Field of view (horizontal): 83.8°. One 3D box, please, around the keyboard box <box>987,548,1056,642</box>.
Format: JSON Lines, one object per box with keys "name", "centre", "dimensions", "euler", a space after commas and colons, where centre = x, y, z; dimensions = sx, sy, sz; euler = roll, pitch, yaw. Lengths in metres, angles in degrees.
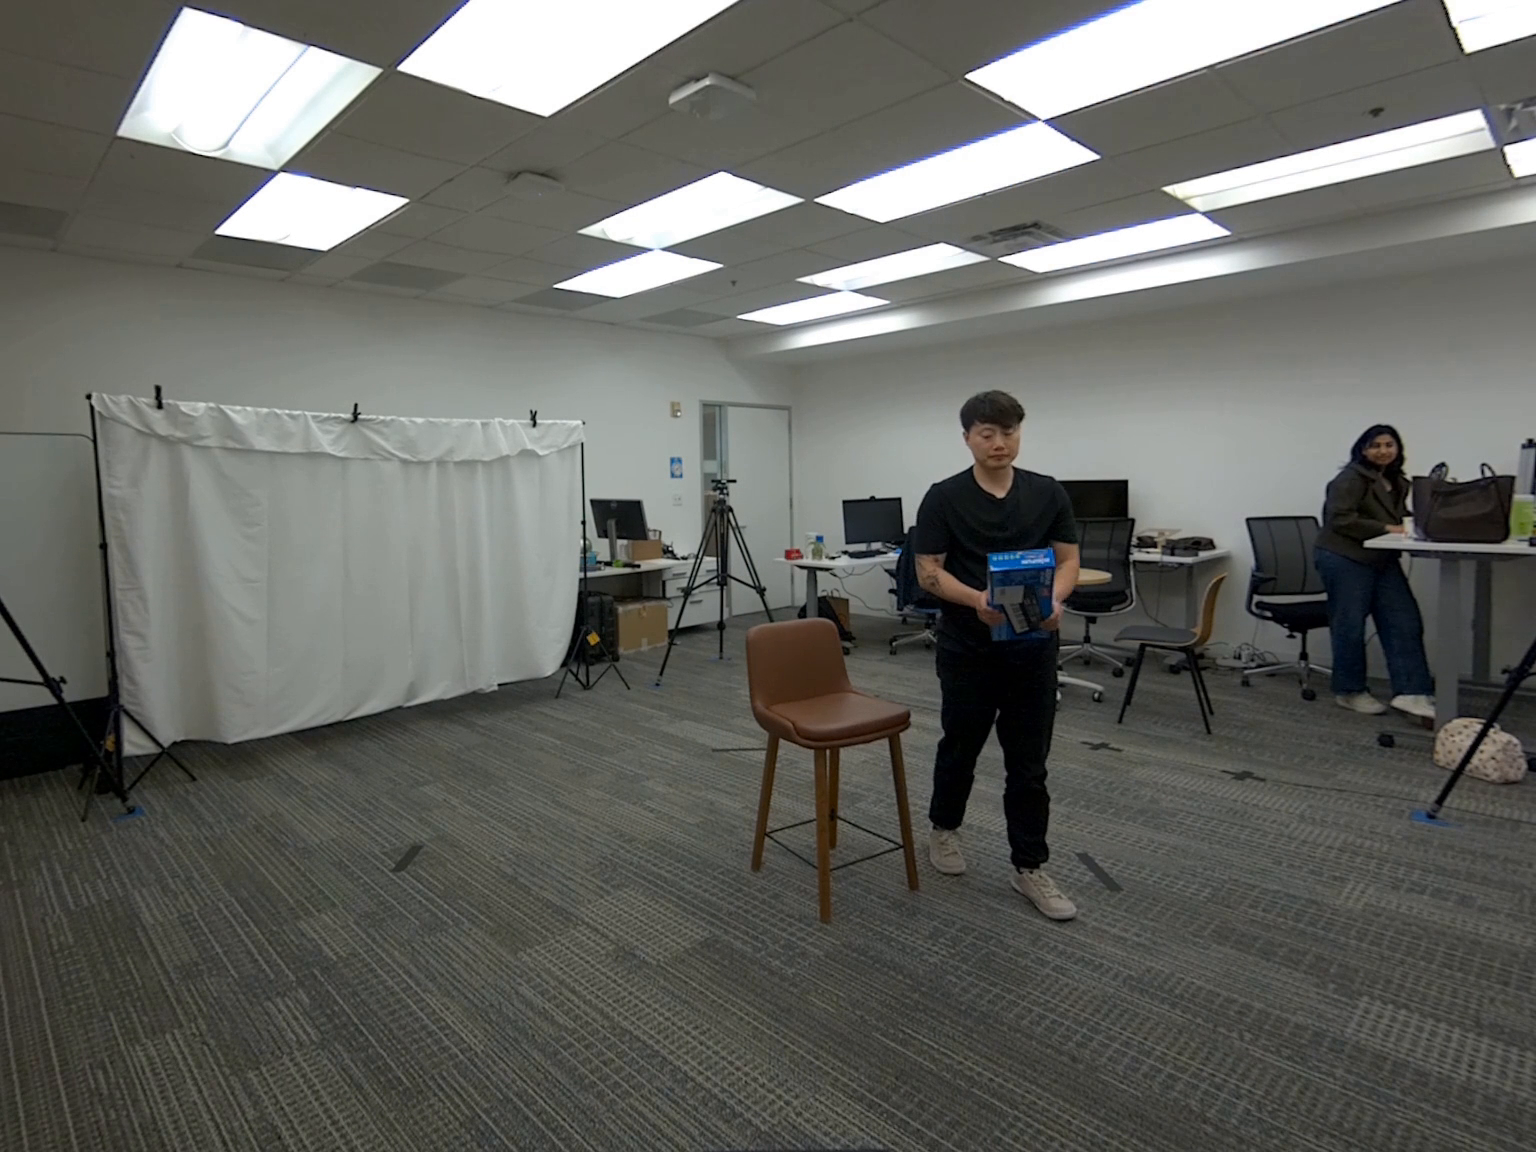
{"name": "keyboard box", "centre": [0.744, 0.072, 2.527], "dimensions": [0.178, 0.060, 0.421], "euler": [-5, -33, 13]}
